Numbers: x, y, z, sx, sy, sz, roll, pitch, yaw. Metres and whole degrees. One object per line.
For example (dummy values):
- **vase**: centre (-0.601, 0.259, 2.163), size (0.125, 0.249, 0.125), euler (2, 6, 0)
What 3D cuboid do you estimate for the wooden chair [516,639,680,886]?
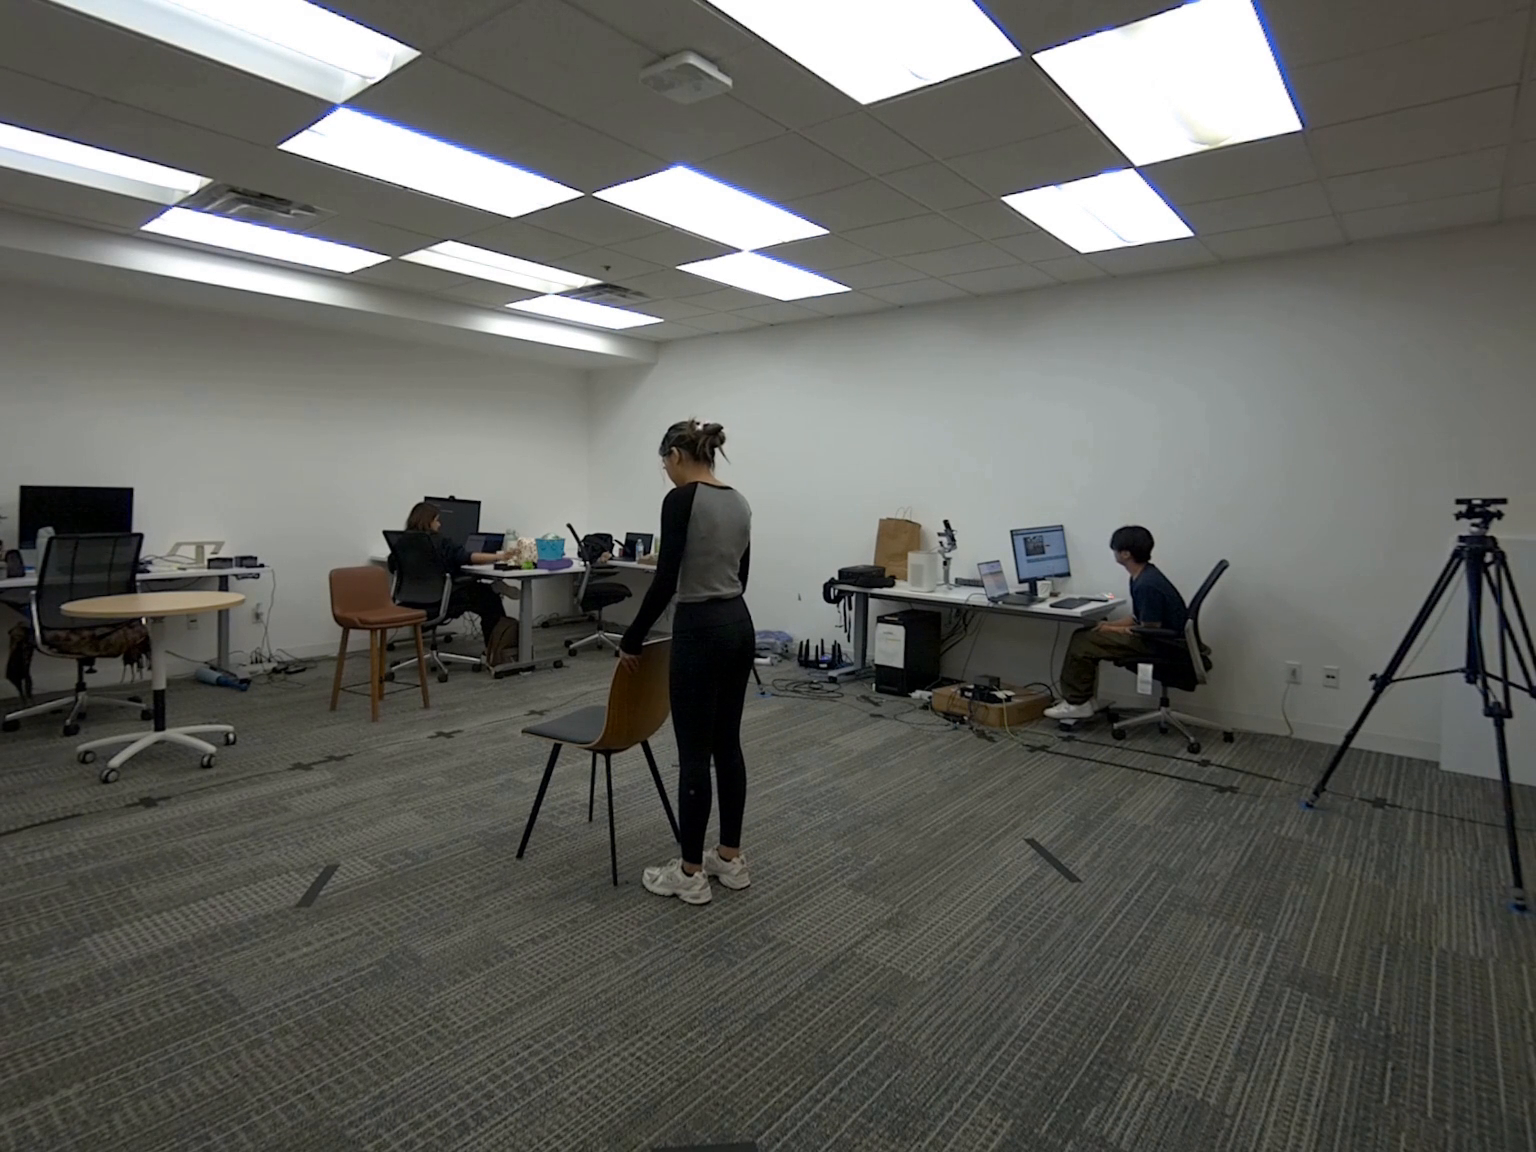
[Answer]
- **wooden chair**: centre (-0.648, 0.622, 3.231), size (0.538, 0.873, 0.467), euler (8, 6, 26)
